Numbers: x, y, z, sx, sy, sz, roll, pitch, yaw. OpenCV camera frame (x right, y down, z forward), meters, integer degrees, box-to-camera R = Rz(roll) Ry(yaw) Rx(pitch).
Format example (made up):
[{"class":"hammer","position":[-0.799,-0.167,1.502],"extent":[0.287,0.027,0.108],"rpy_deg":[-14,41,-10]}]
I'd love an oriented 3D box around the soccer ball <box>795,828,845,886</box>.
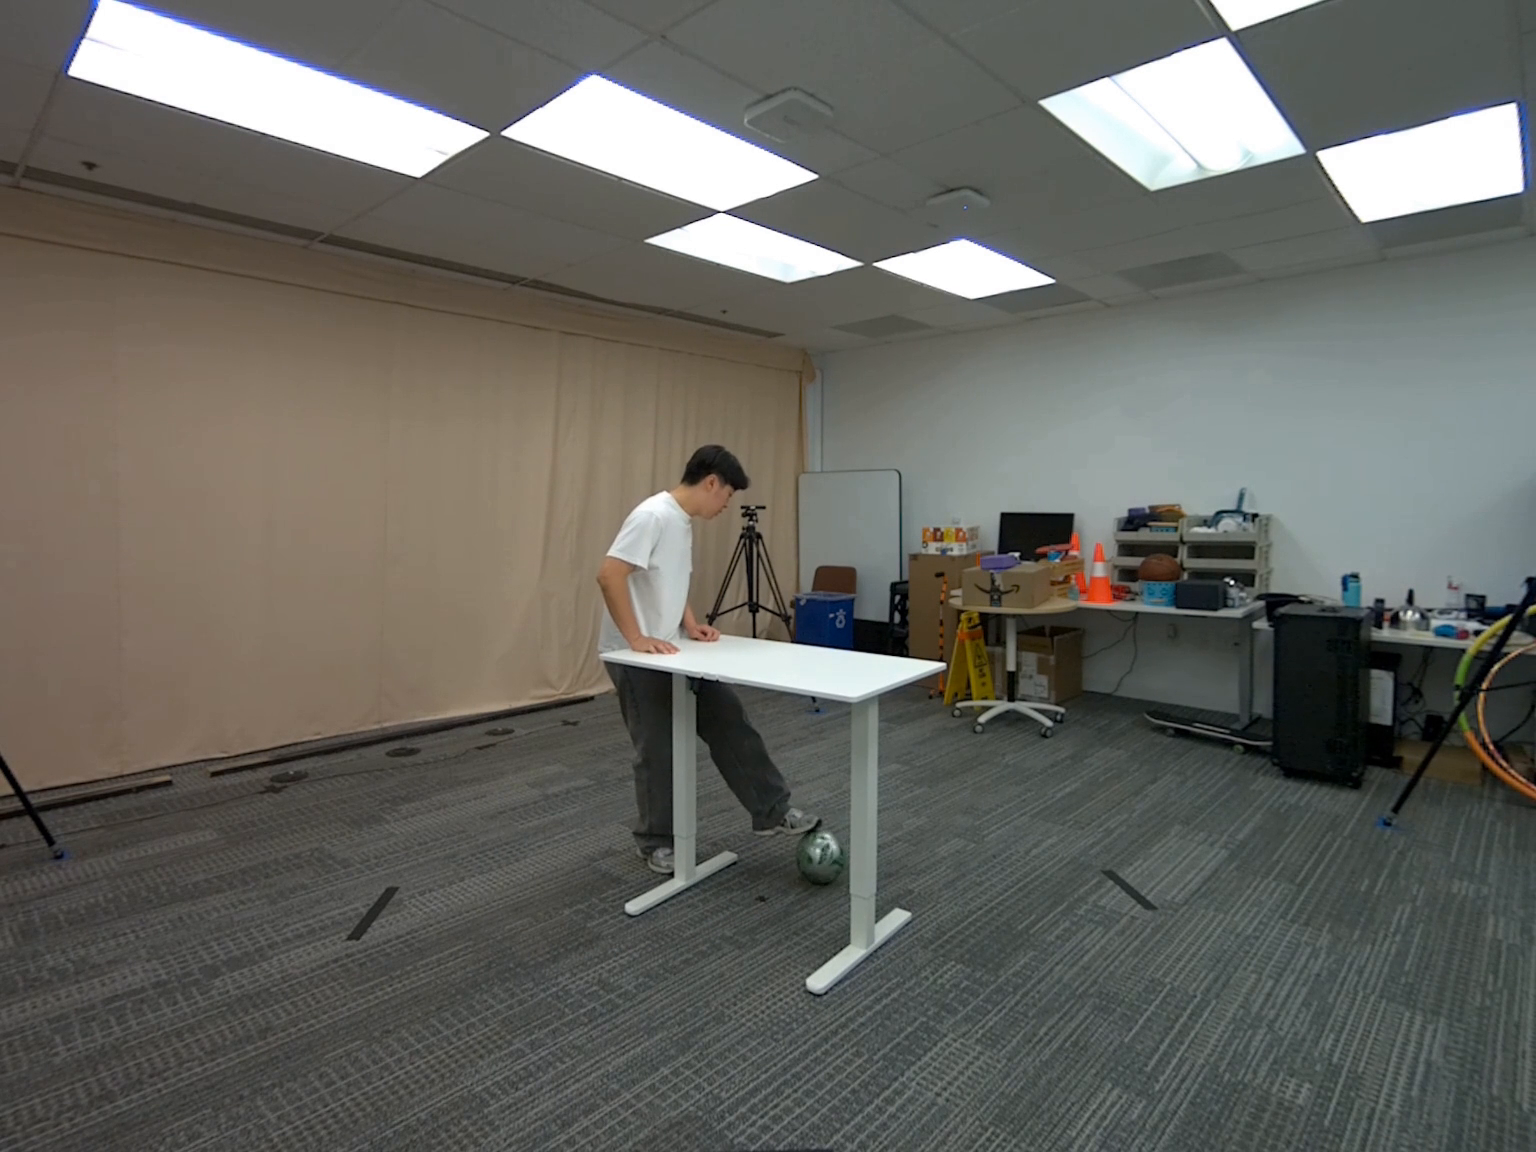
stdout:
[{"class":"soccer ball","position":[0.195,1.036,3.106],"extent":[0.187,0.187,0.188],"rpy_deg":[0,4,-2]}]
